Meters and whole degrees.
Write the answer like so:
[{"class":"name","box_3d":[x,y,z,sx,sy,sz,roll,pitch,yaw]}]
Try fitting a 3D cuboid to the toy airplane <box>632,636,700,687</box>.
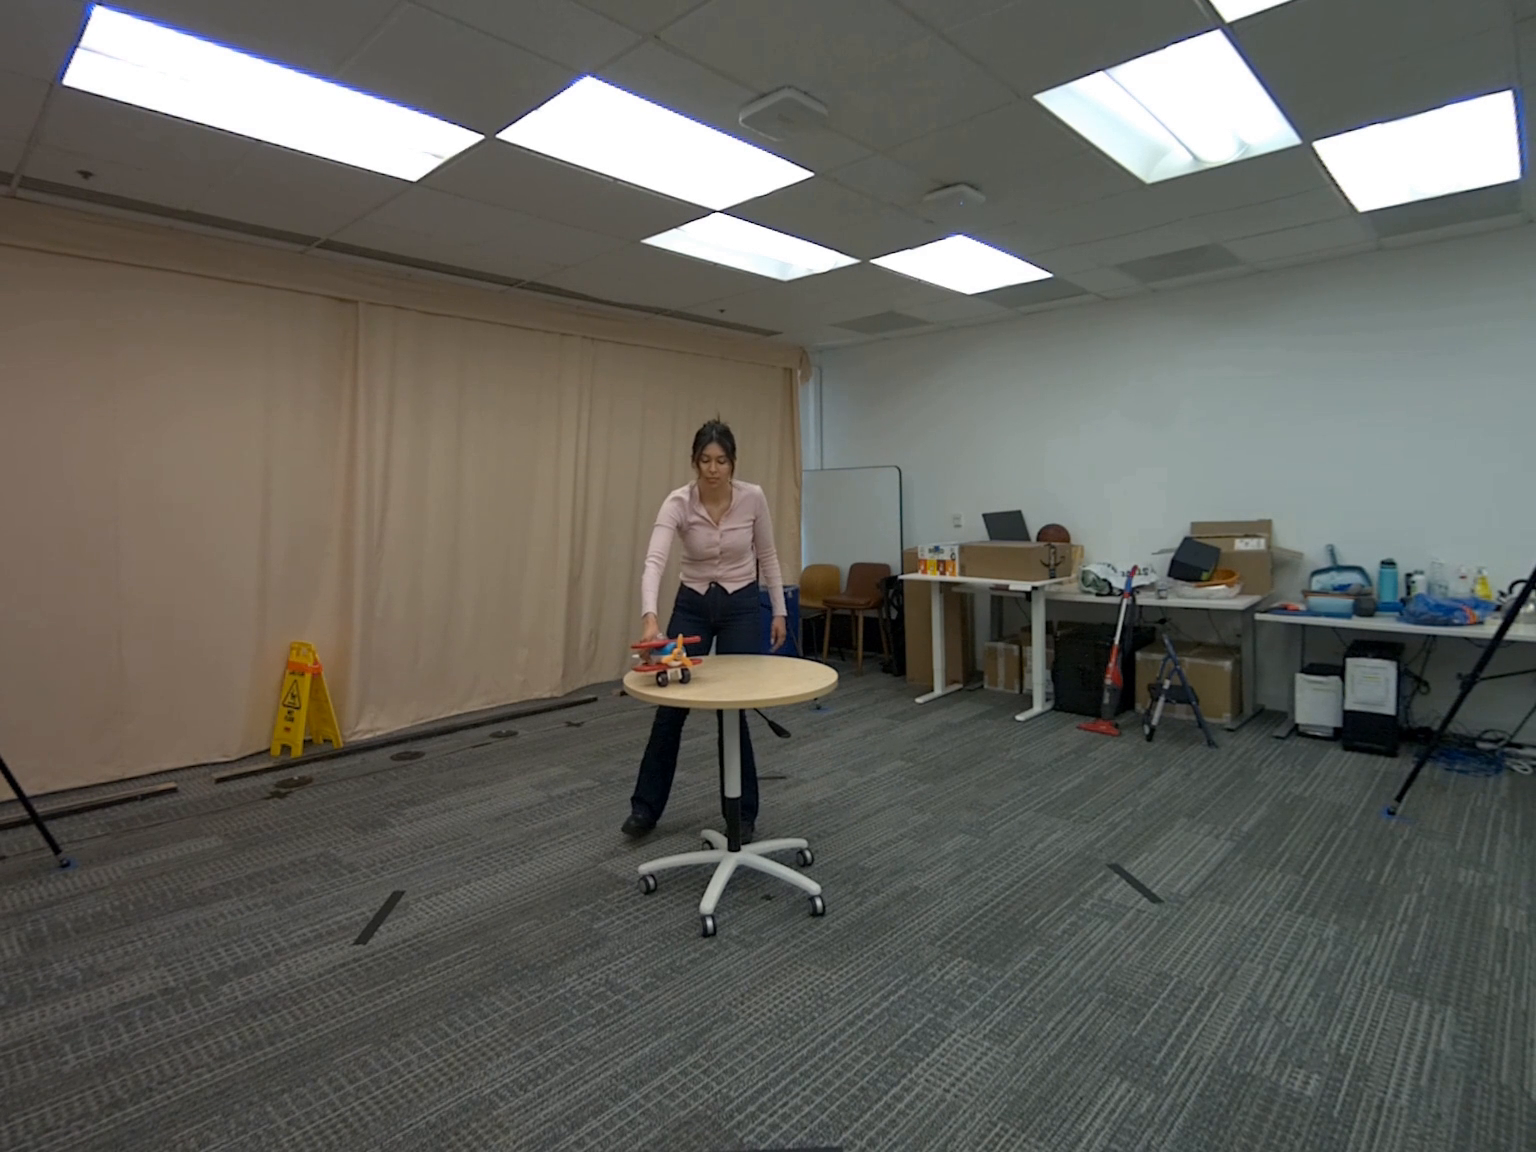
[{"class":"toy airplane","box_3d":[-0.377,0.282,2.937,0.267,0.155,0.245,9,12,29]}]
